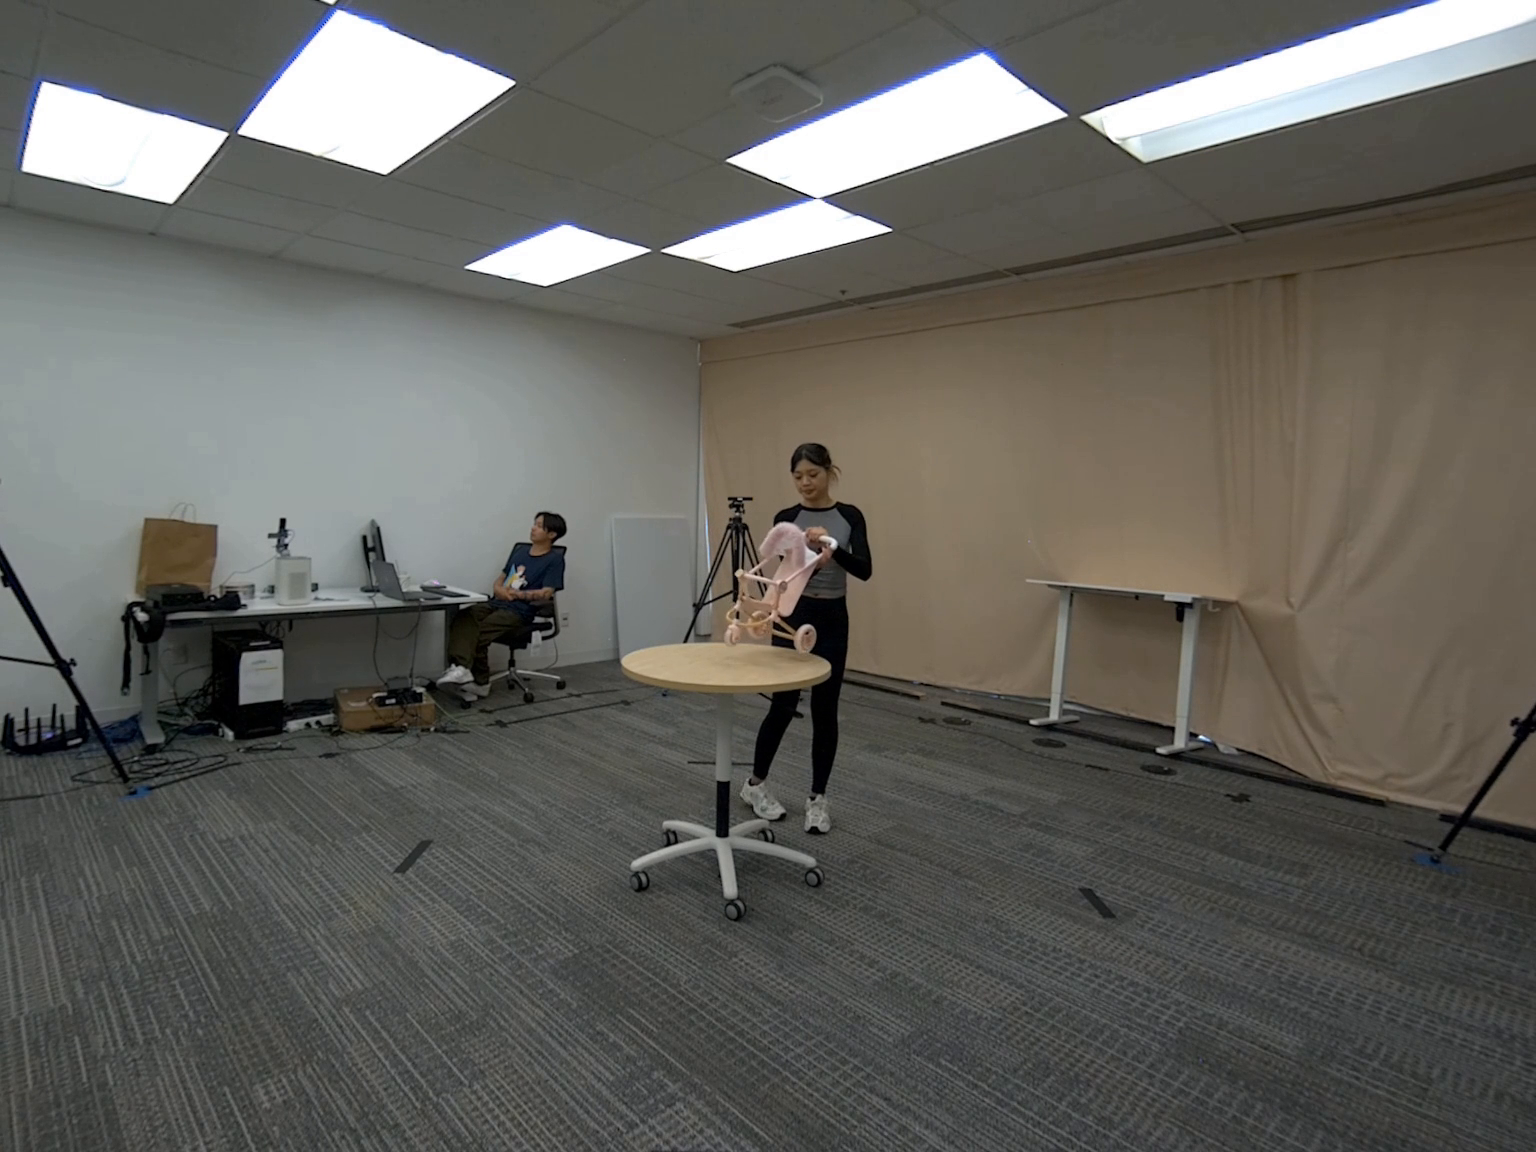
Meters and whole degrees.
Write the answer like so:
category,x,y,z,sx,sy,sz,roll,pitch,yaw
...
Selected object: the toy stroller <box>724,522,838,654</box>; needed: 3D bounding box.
category,x,y,z,sx,sy,sz,roll,pitch,yaw
toy stroller,0.017,0.038,3.157,0.331,0.536,0.289,25,-8,-41
